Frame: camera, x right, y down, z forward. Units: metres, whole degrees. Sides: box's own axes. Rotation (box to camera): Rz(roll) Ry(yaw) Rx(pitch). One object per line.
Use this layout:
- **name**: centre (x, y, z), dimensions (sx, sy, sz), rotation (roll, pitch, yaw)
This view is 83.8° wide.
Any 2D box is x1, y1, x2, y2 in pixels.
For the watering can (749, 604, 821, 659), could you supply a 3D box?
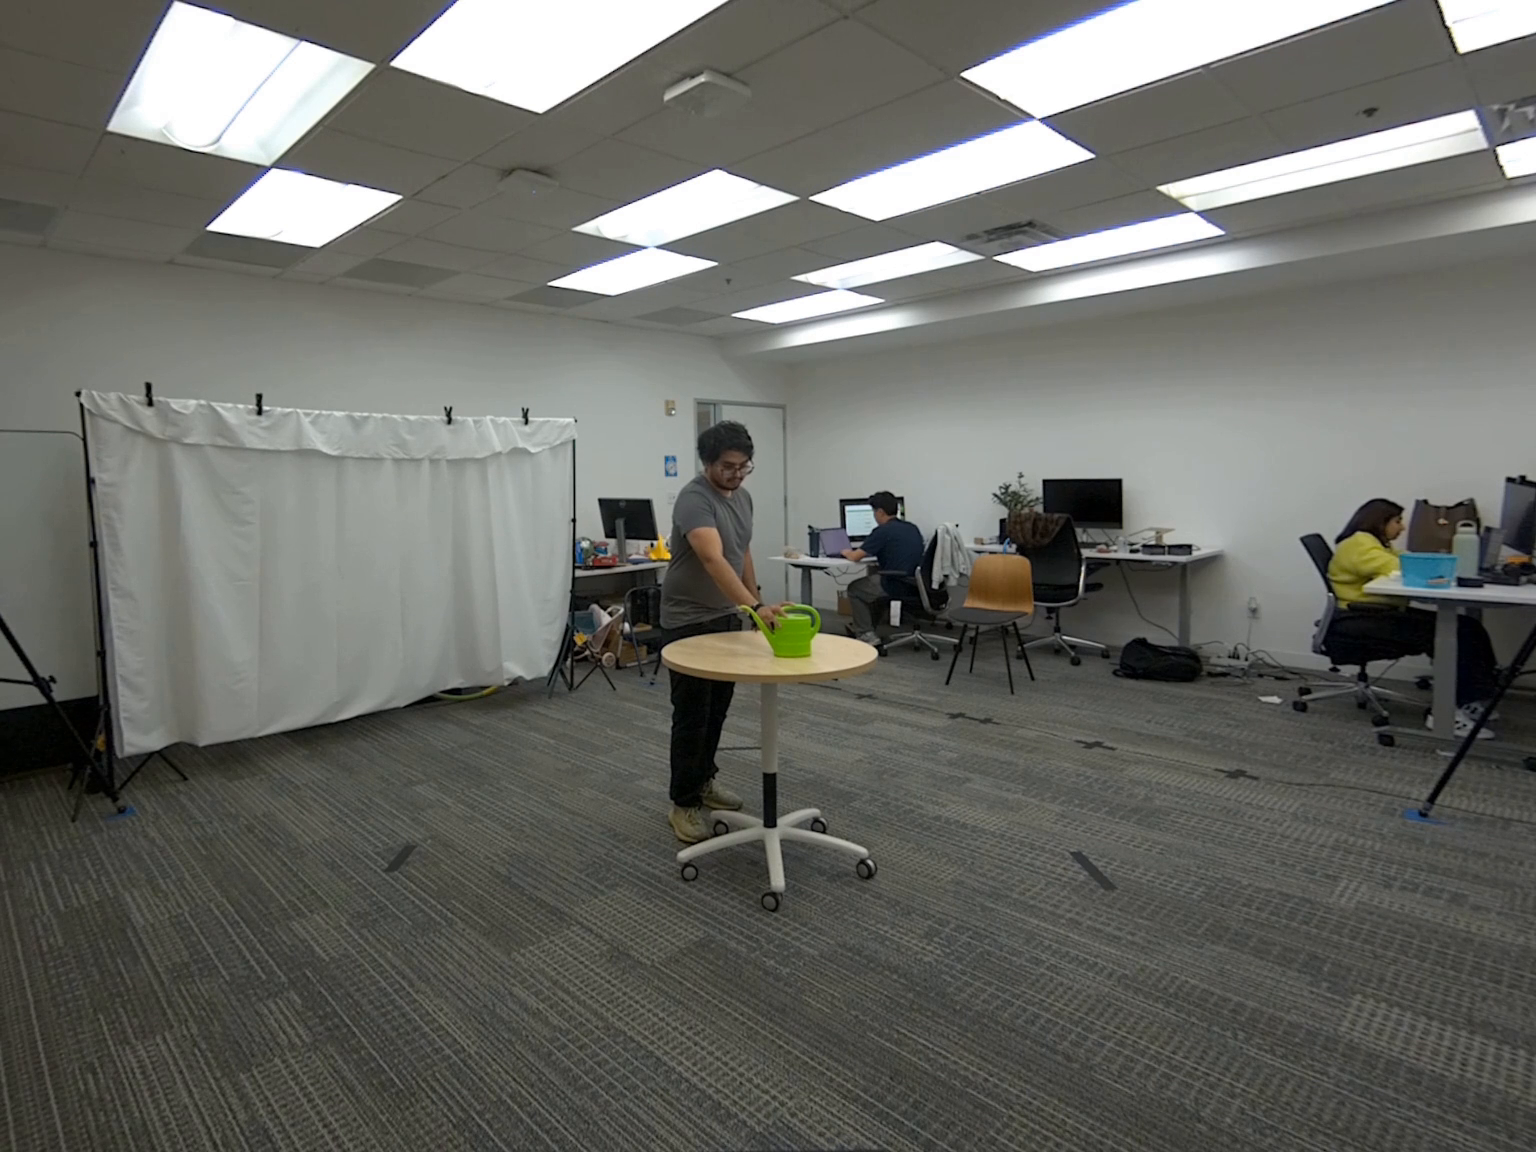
- **watering can**: centre (0.050, 0.193, 2.949), dimensions (0.278, 0.176, 0.098), rotation (2, 6, 0)
